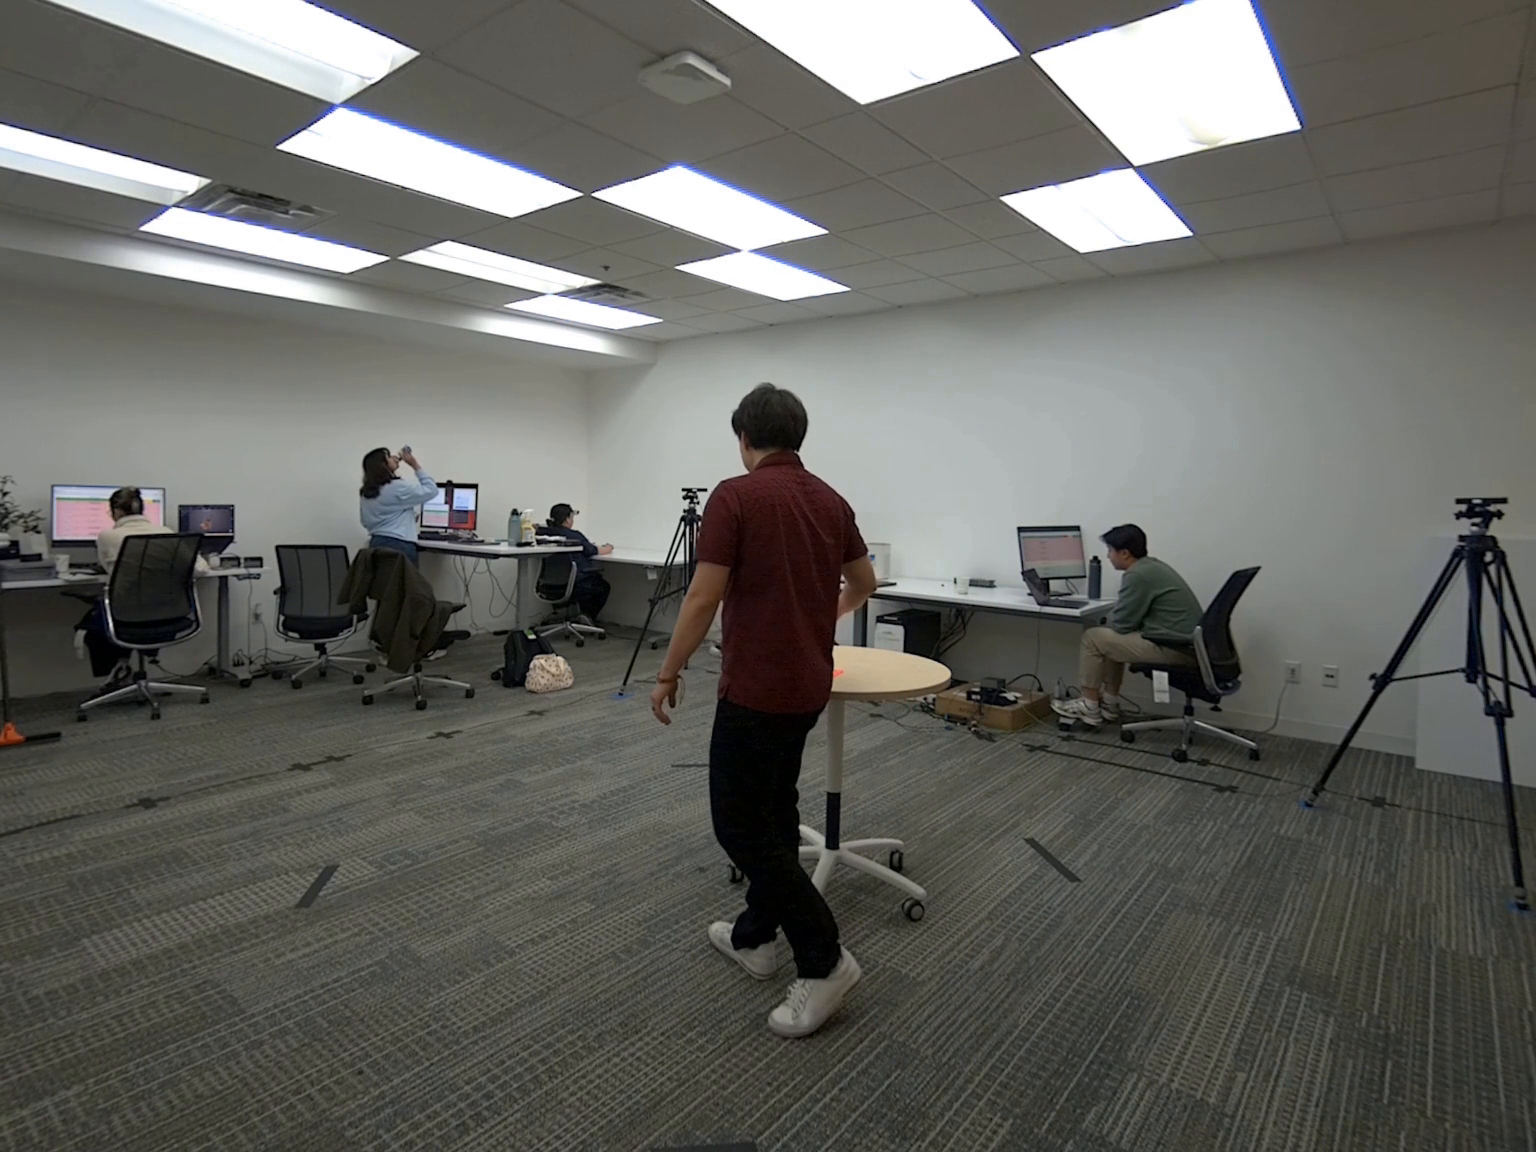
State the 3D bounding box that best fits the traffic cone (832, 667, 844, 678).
[{"bbox_3d":[0.131,0.134,2.813,0.210,0.382,0.200,2,6,22],"label":"traffic cone"}]
